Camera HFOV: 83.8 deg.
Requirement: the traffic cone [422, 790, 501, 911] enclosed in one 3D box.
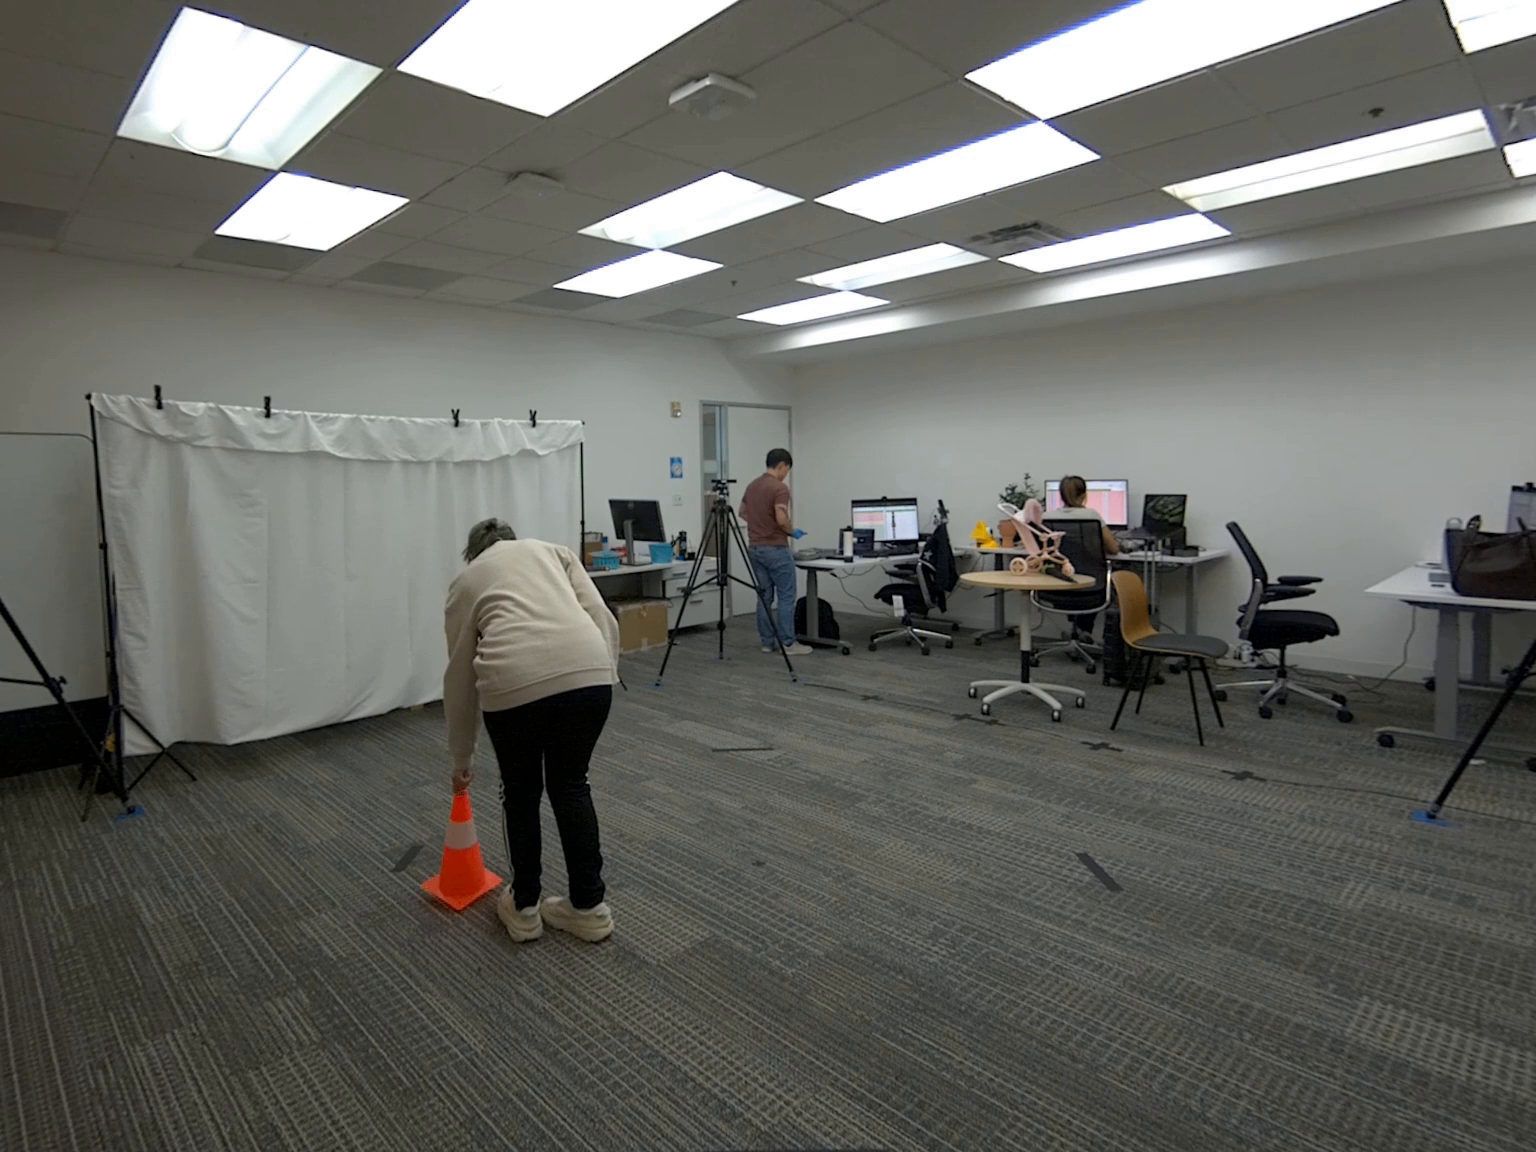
[{"bbox_3d":[-1.025,0.874,2.872,0.210,0.379,0.200,17,19,40],"label":"traffic cone"}]
